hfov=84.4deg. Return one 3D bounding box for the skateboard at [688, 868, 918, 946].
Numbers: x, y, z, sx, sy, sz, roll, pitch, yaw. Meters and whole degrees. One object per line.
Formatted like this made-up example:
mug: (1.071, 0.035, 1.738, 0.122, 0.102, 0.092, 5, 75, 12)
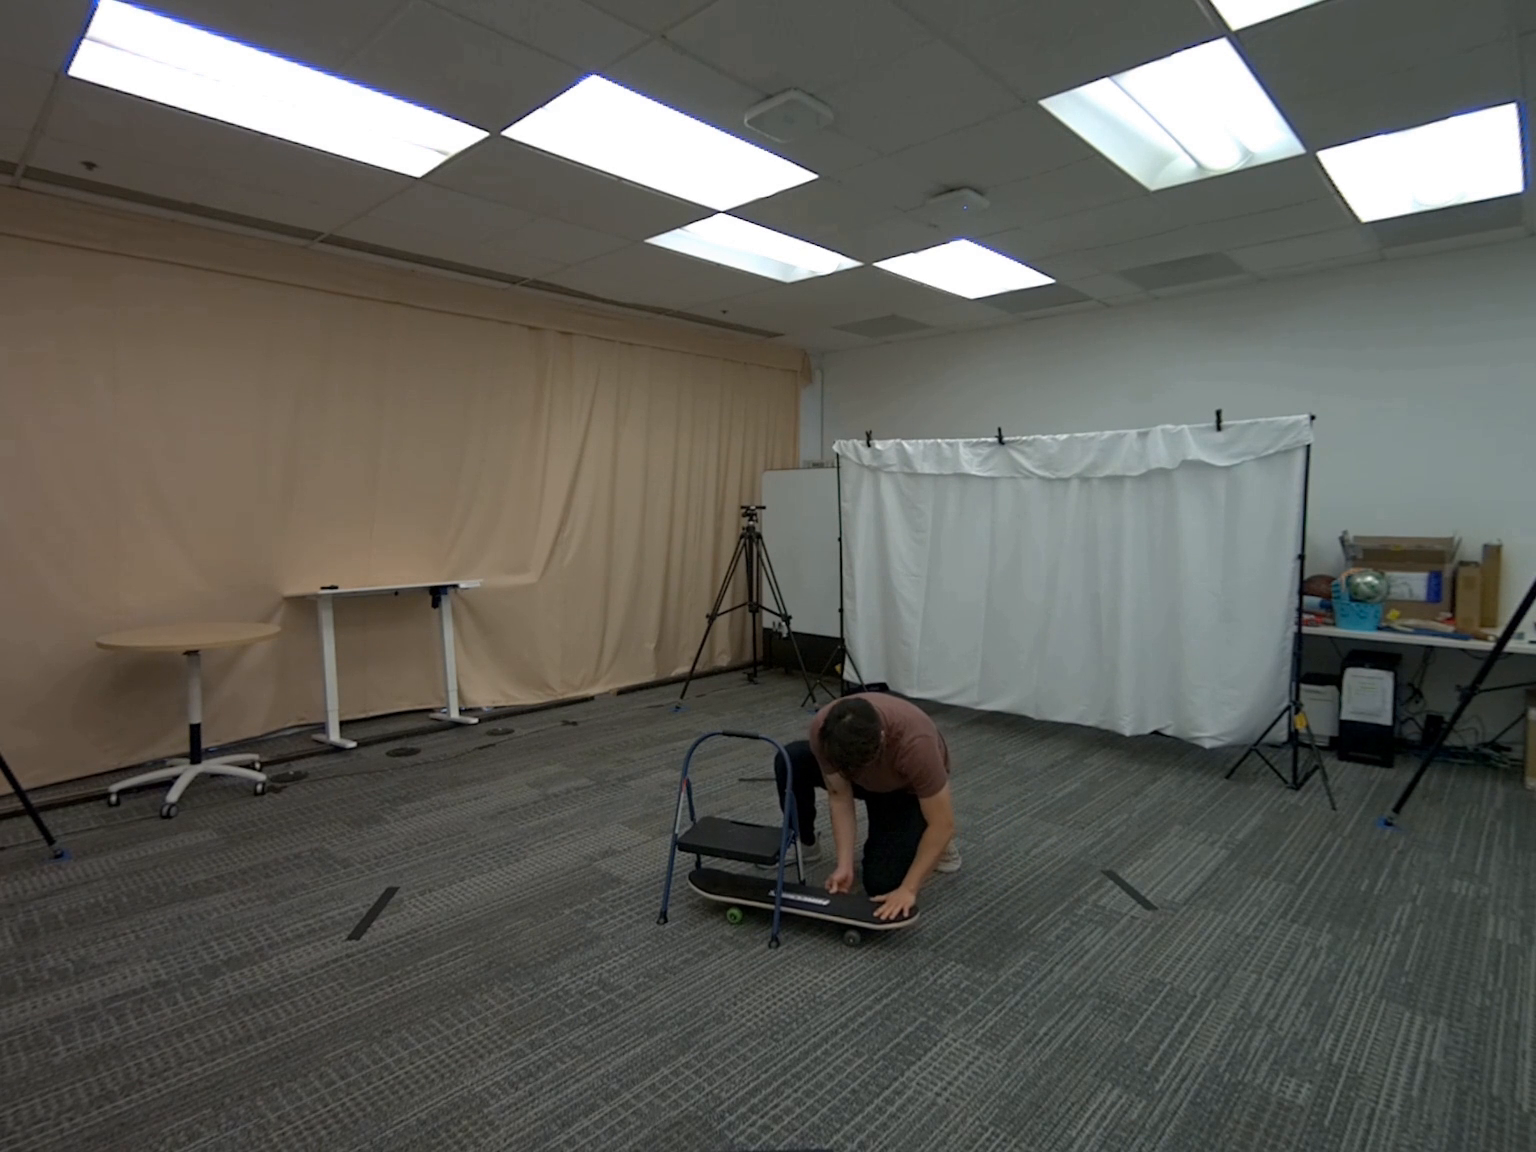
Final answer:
skateboard: (0.099, 1.095, 2.809, 0.803, 0.110, 0.189, 3, 5, 21)
